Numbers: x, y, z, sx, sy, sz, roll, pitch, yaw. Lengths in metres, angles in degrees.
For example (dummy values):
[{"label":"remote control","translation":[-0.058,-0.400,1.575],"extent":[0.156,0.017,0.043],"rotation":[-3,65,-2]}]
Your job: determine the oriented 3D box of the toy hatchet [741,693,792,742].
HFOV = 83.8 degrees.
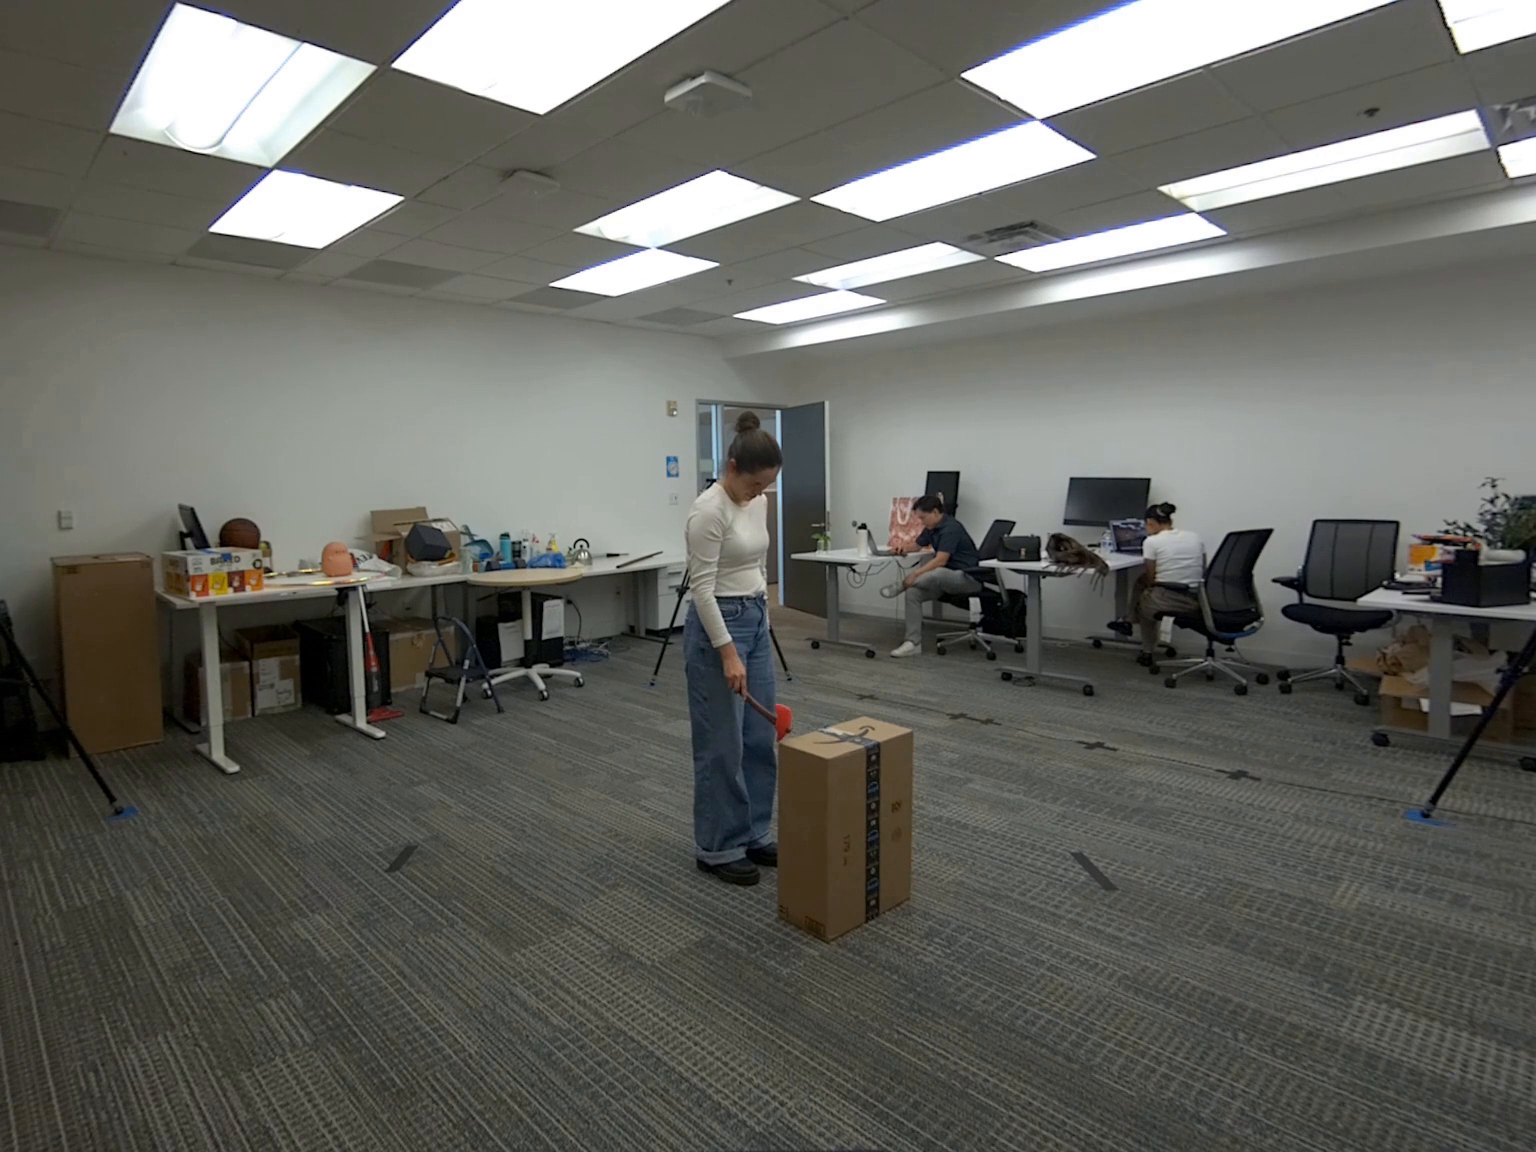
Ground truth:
[{"label":"toy hatchet","translation":[0.007,0.402,2.765],"extent":[0.029,0.130,0.278],"rotation":[-15,54,-47]}]
